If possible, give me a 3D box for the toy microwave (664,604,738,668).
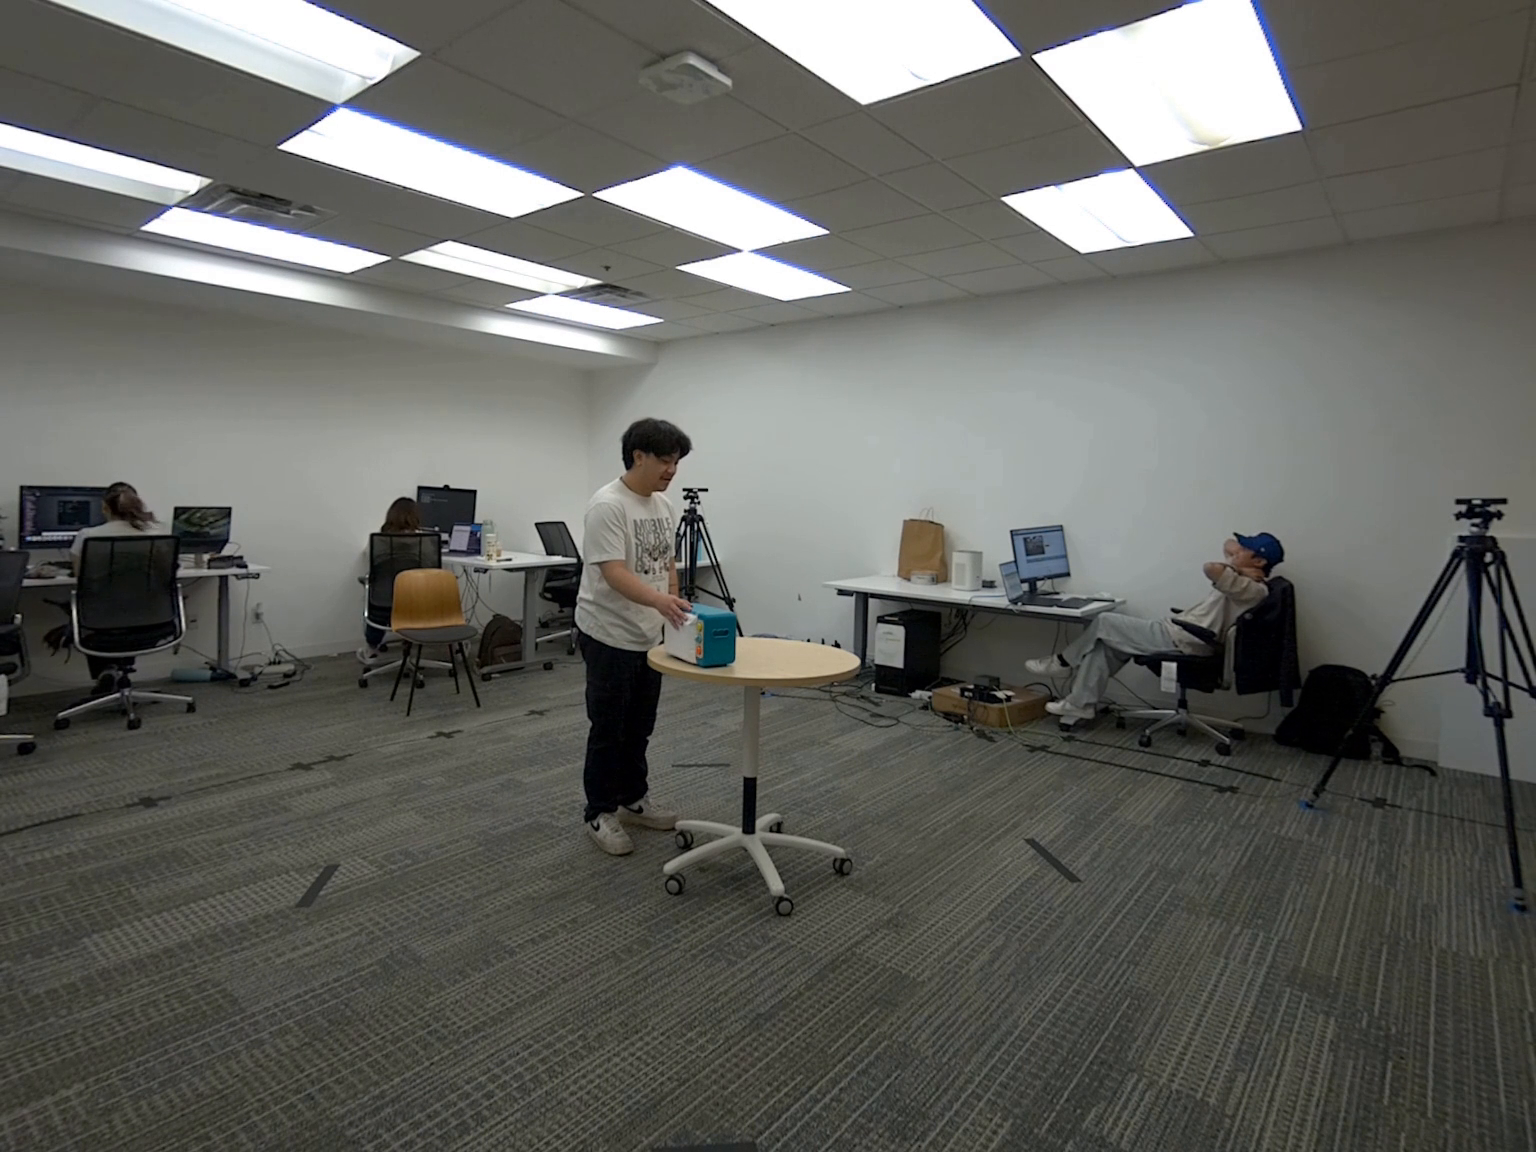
[{"bbox_3d":[-0.253,0.199,2.945,0.148,0.183,0.295,0,5,-34],"label":"toy microwave"}]
